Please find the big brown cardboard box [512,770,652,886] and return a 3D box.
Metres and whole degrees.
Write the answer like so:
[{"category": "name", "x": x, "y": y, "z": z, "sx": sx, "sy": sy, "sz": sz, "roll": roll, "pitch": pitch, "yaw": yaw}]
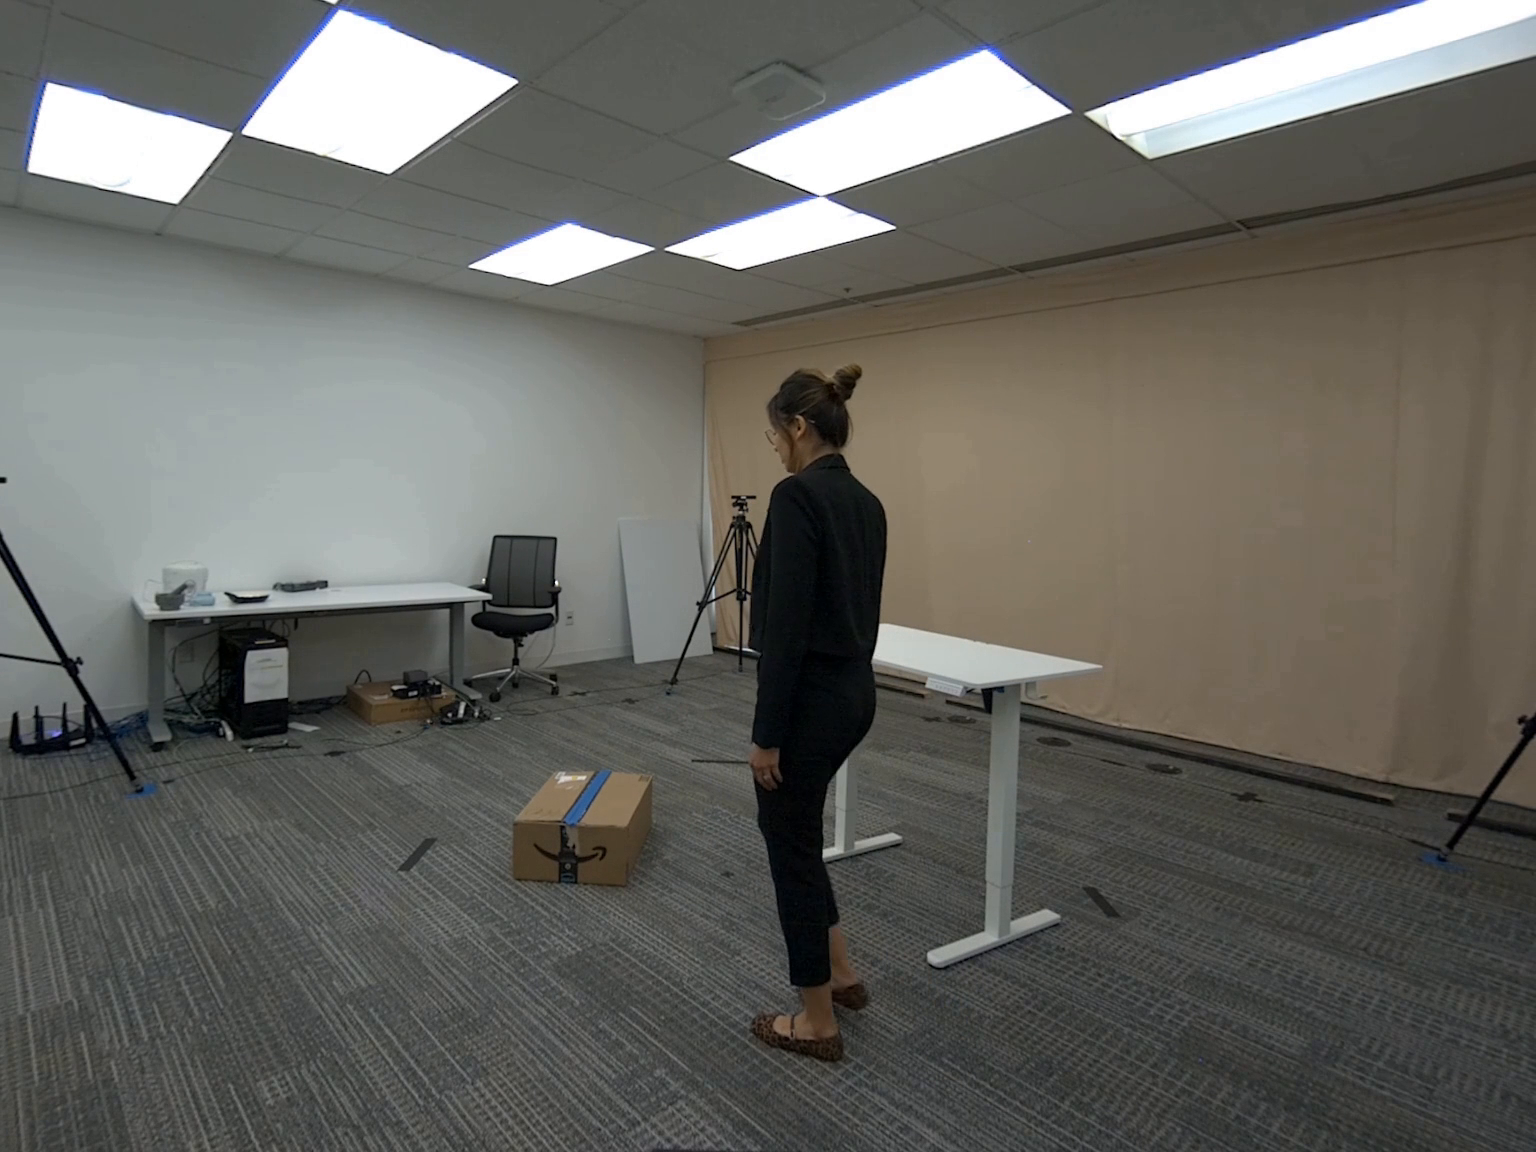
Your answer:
[{"category": "big brown cardboard box", "x": -0.708, "y": 0.962, "z": 3.277, "sx": 0.418, "sy": 0.232, "sz": 0.590, "roll": 1, "pitch": 6, "yaw": 2}]
